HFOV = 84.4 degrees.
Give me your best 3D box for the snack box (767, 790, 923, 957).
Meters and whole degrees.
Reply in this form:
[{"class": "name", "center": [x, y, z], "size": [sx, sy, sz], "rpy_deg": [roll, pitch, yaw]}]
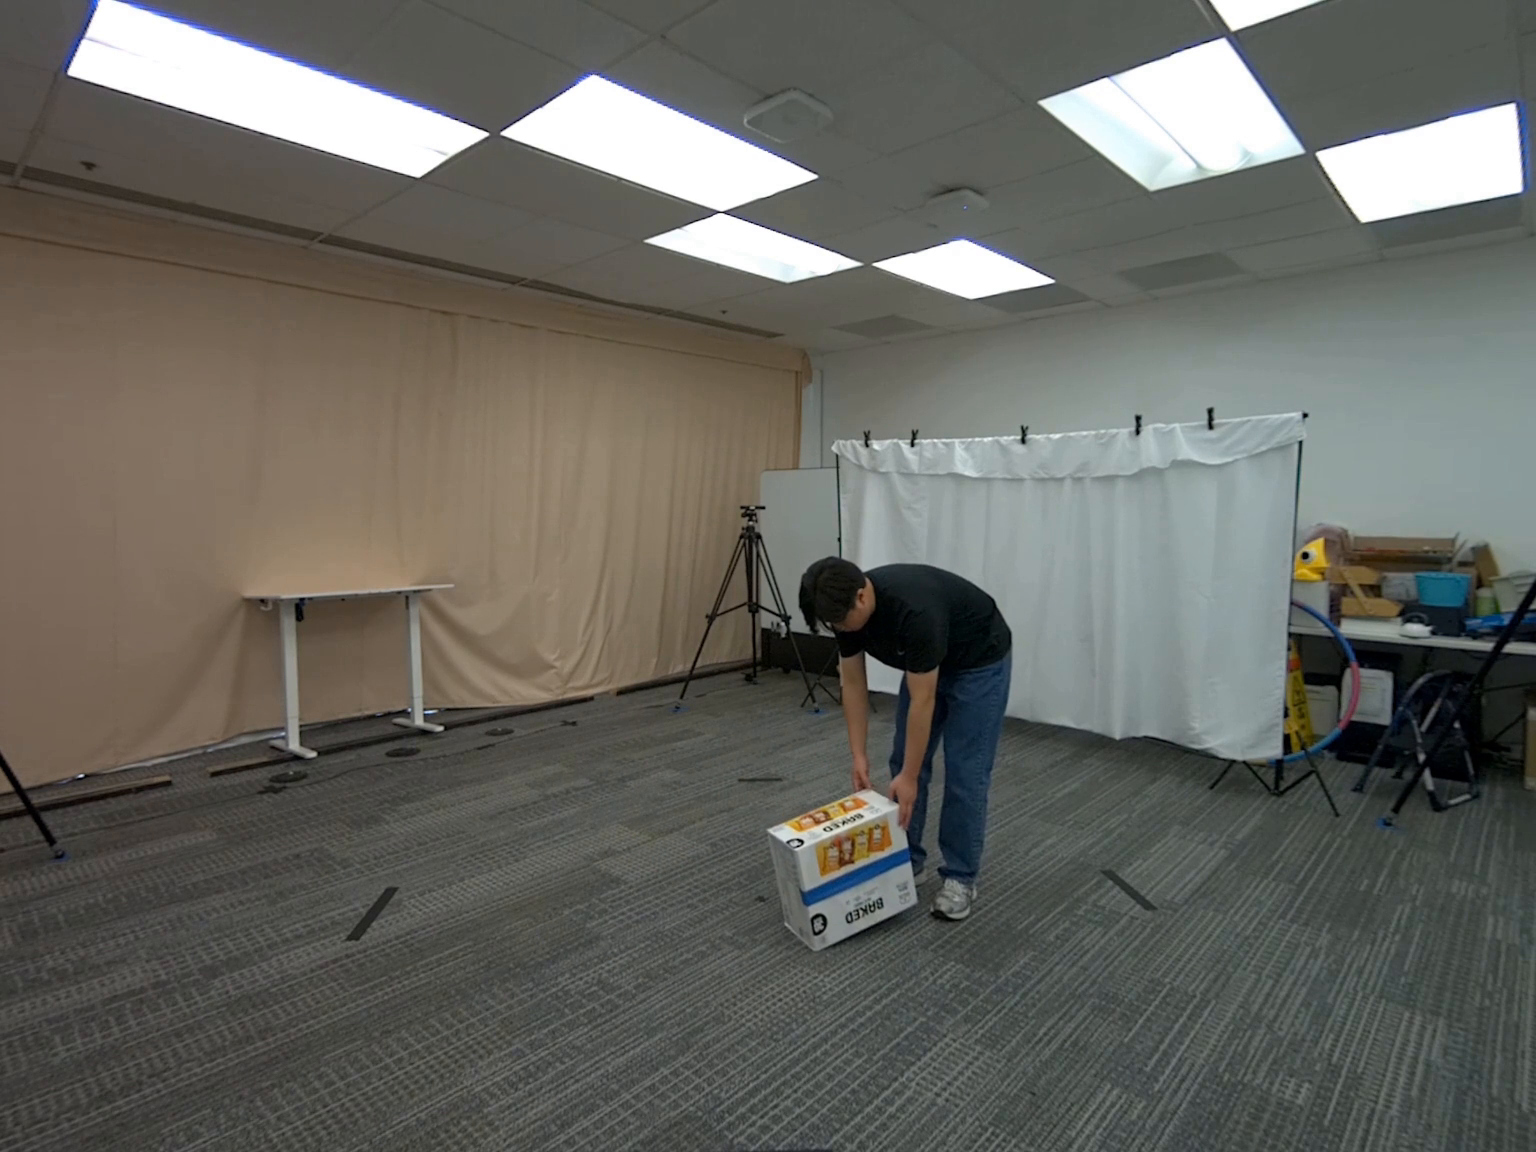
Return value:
[{"class": "snack box", "center": [0.249, 0.956, 2.768], "size": [0.397, 0.338, 0.211], "rpy_deg": [-14, 7, -23]}]
